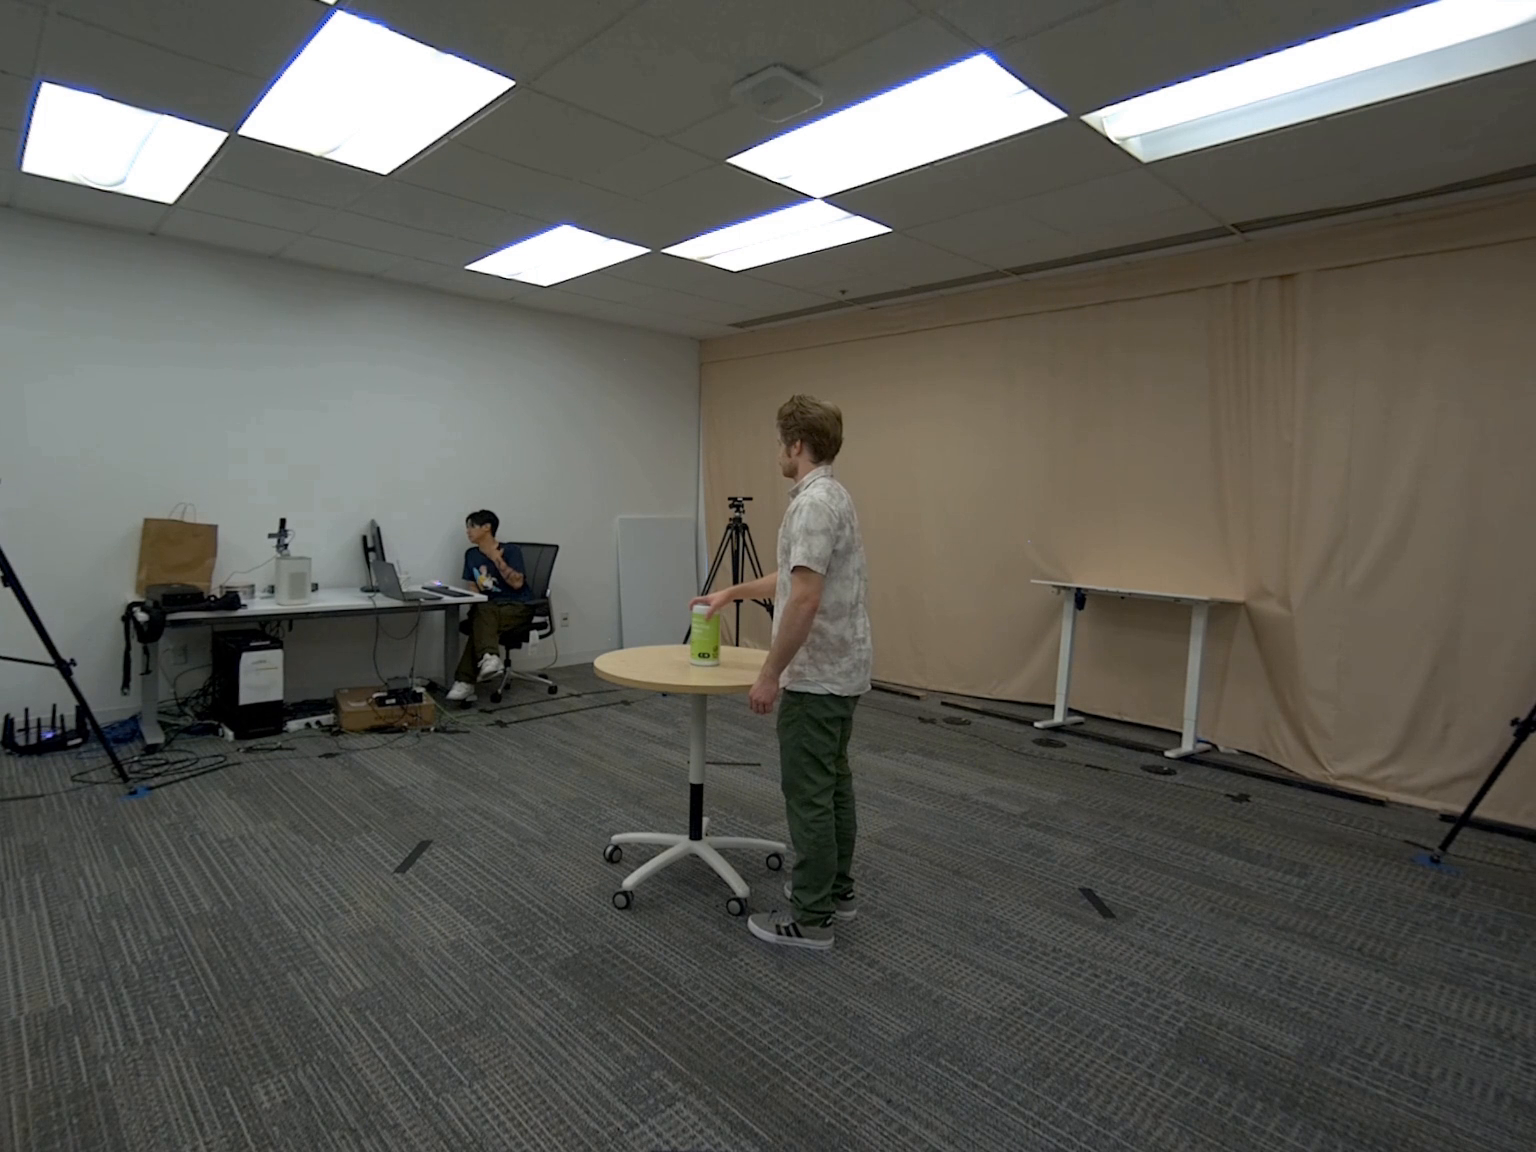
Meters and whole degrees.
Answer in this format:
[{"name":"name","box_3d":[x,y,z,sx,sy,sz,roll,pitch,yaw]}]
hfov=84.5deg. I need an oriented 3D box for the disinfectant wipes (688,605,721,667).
[{"name":"disinfectant wipes","box_3d":[-0.228,0.215,3.043,0.118,0.217,0.118,1,4,-1]}]
